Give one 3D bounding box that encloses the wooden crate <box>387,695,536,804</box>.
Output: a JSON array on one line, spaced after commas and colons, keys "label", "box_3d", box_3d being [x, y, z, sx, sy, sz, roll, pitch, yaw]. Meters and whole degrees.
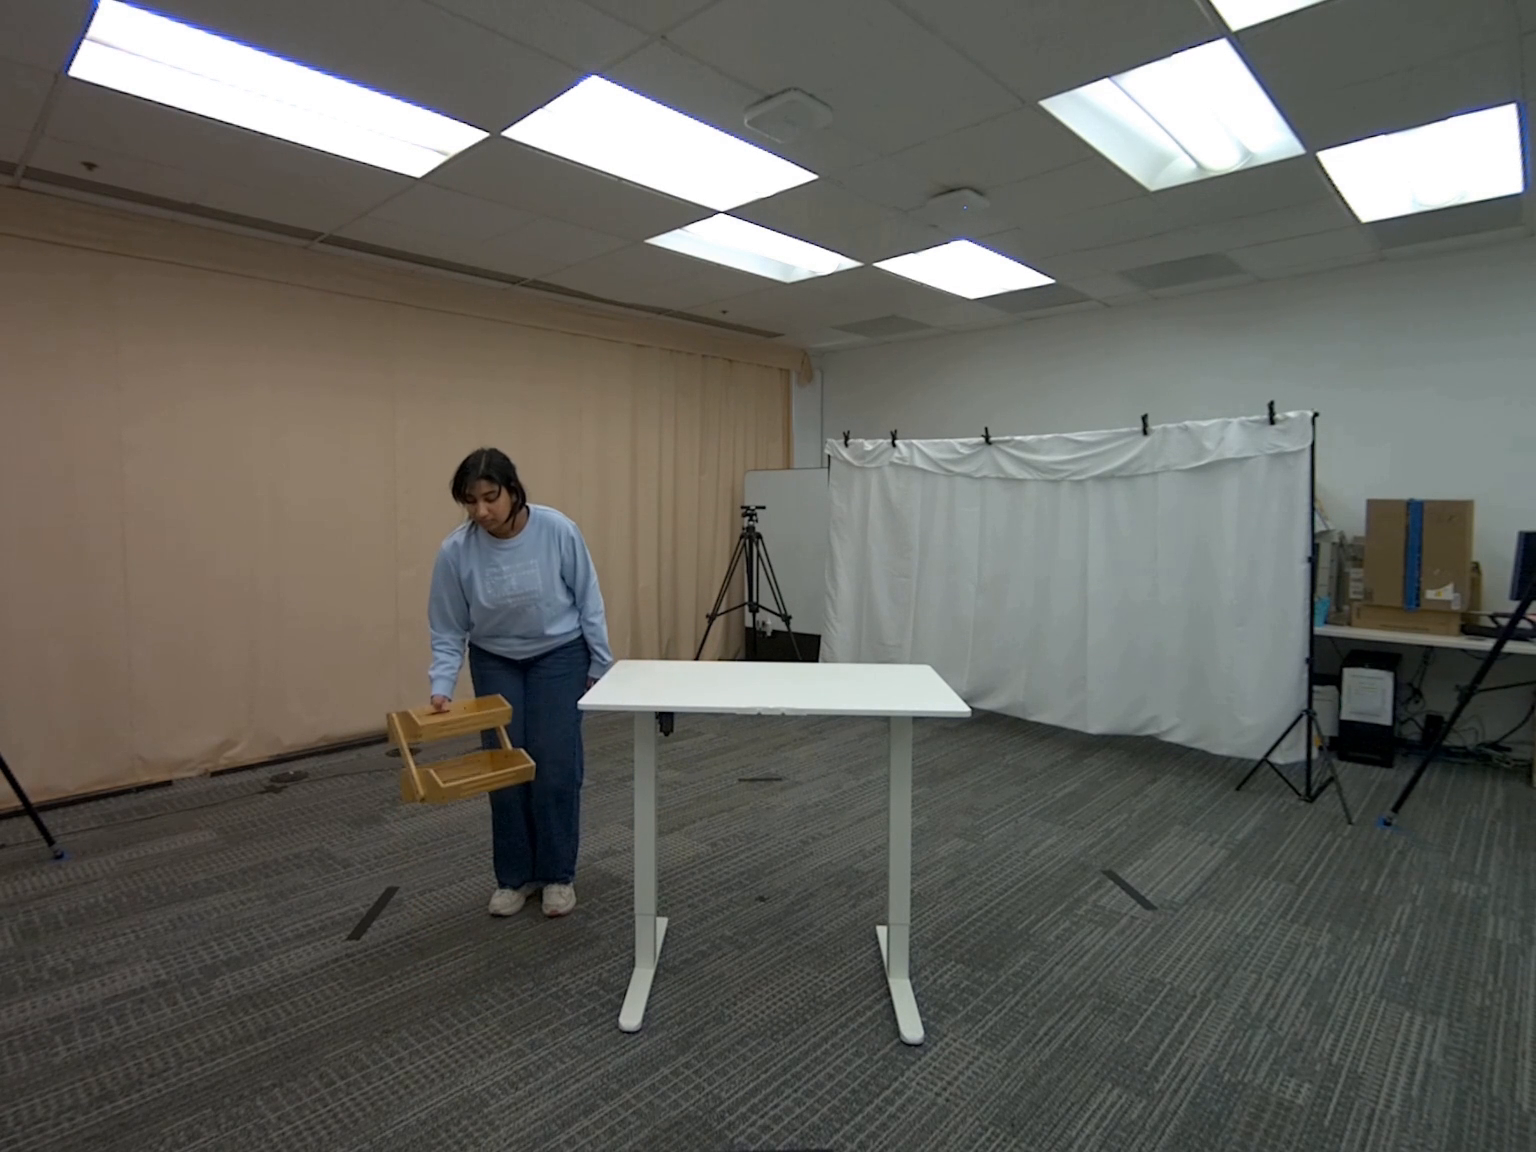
[{"label": "wooden crate", "box_3d": [-0.911, 0.501, 2.510, 0.310, 0.275, 0.314, -15, -8, 43]}]
